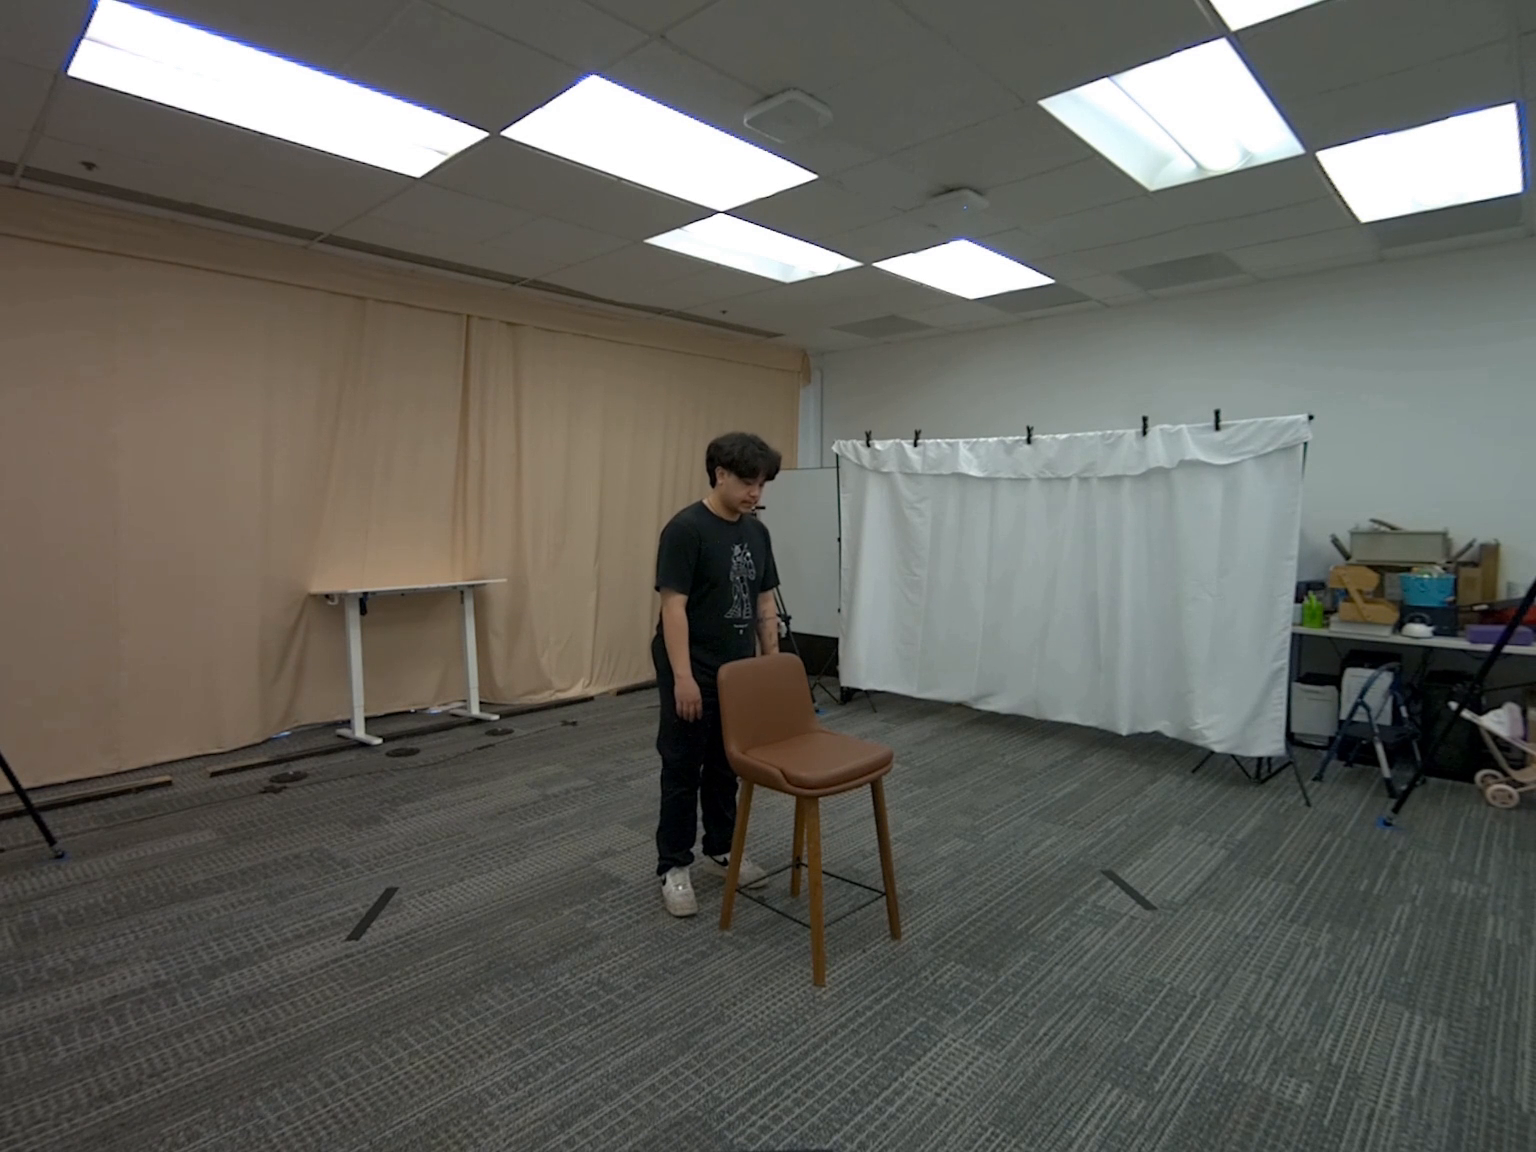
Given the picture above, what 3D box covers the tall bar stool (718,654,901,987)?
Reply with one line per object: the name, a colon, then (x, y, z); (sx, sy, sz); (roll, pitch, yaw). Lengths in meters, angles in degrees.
tall bar stool: (0.128, 0.729, 2.719); (0.442, 0.889, 0.483); (-3, 3, -44)
